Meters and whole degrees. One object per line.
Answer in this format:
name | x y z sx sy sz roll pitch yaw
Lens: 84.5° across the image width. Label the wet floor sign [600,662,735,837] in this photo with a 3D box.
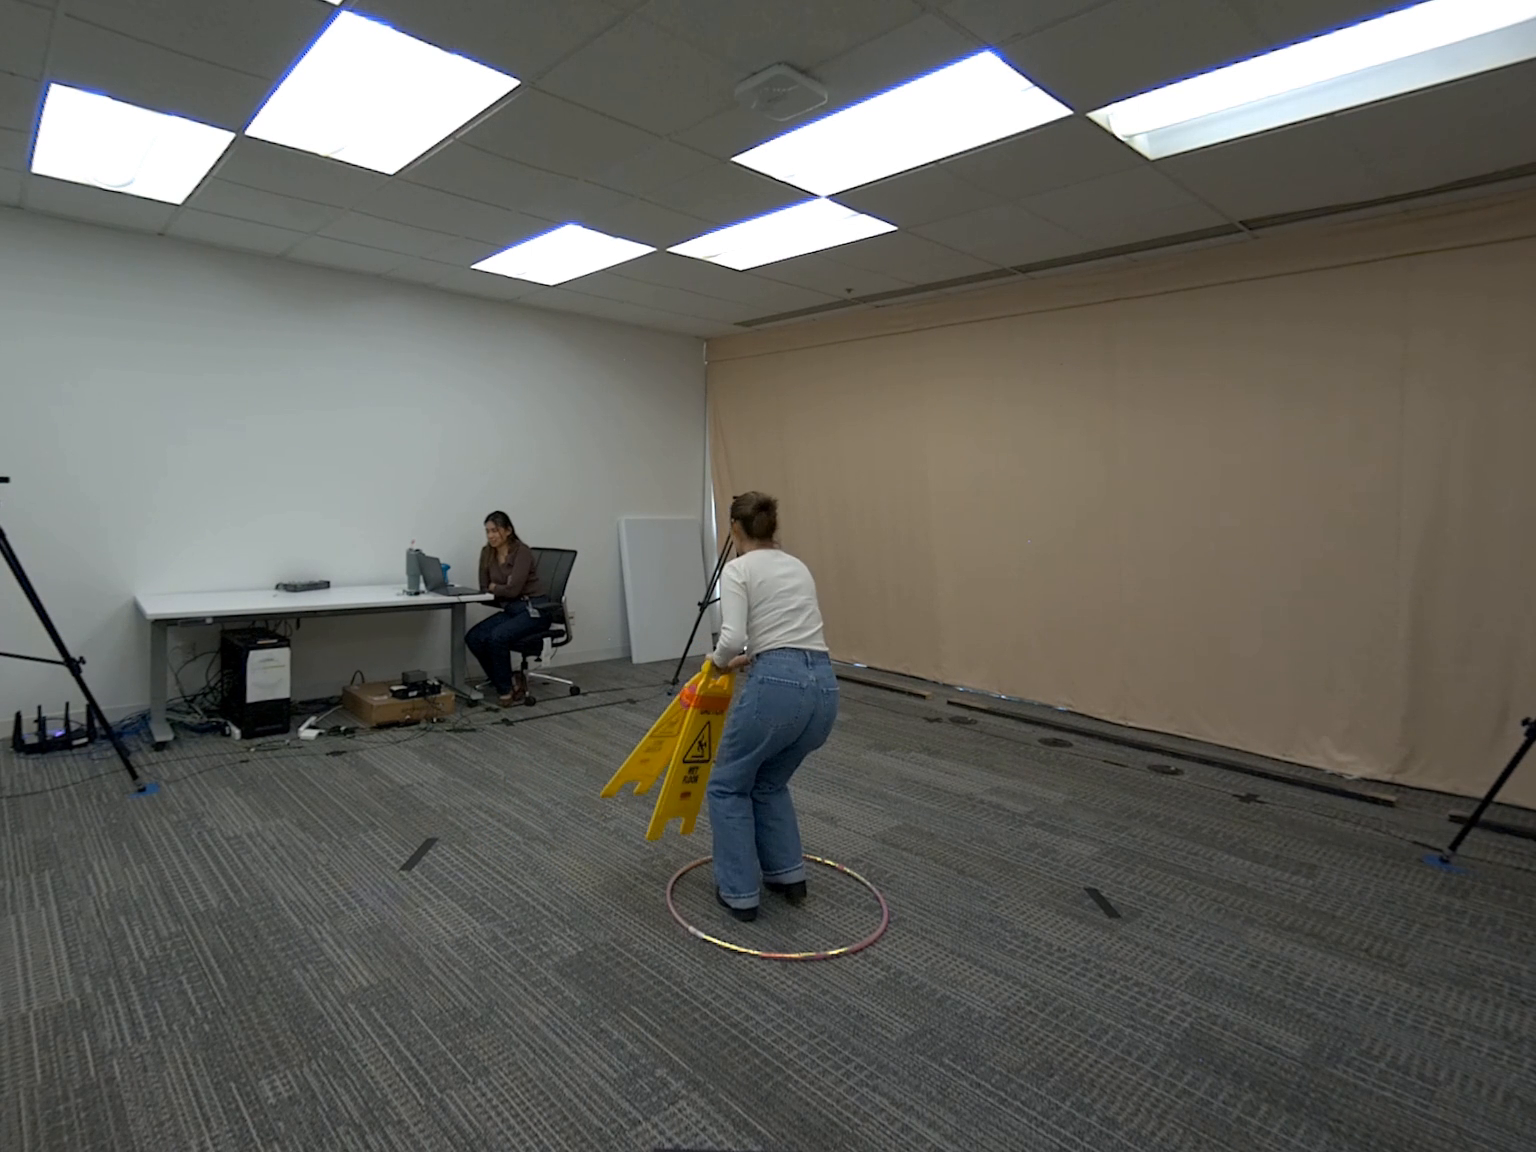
wet floor sign | -0.272 0.546 3.111 0.298 0.645 0.275 29 5 31
